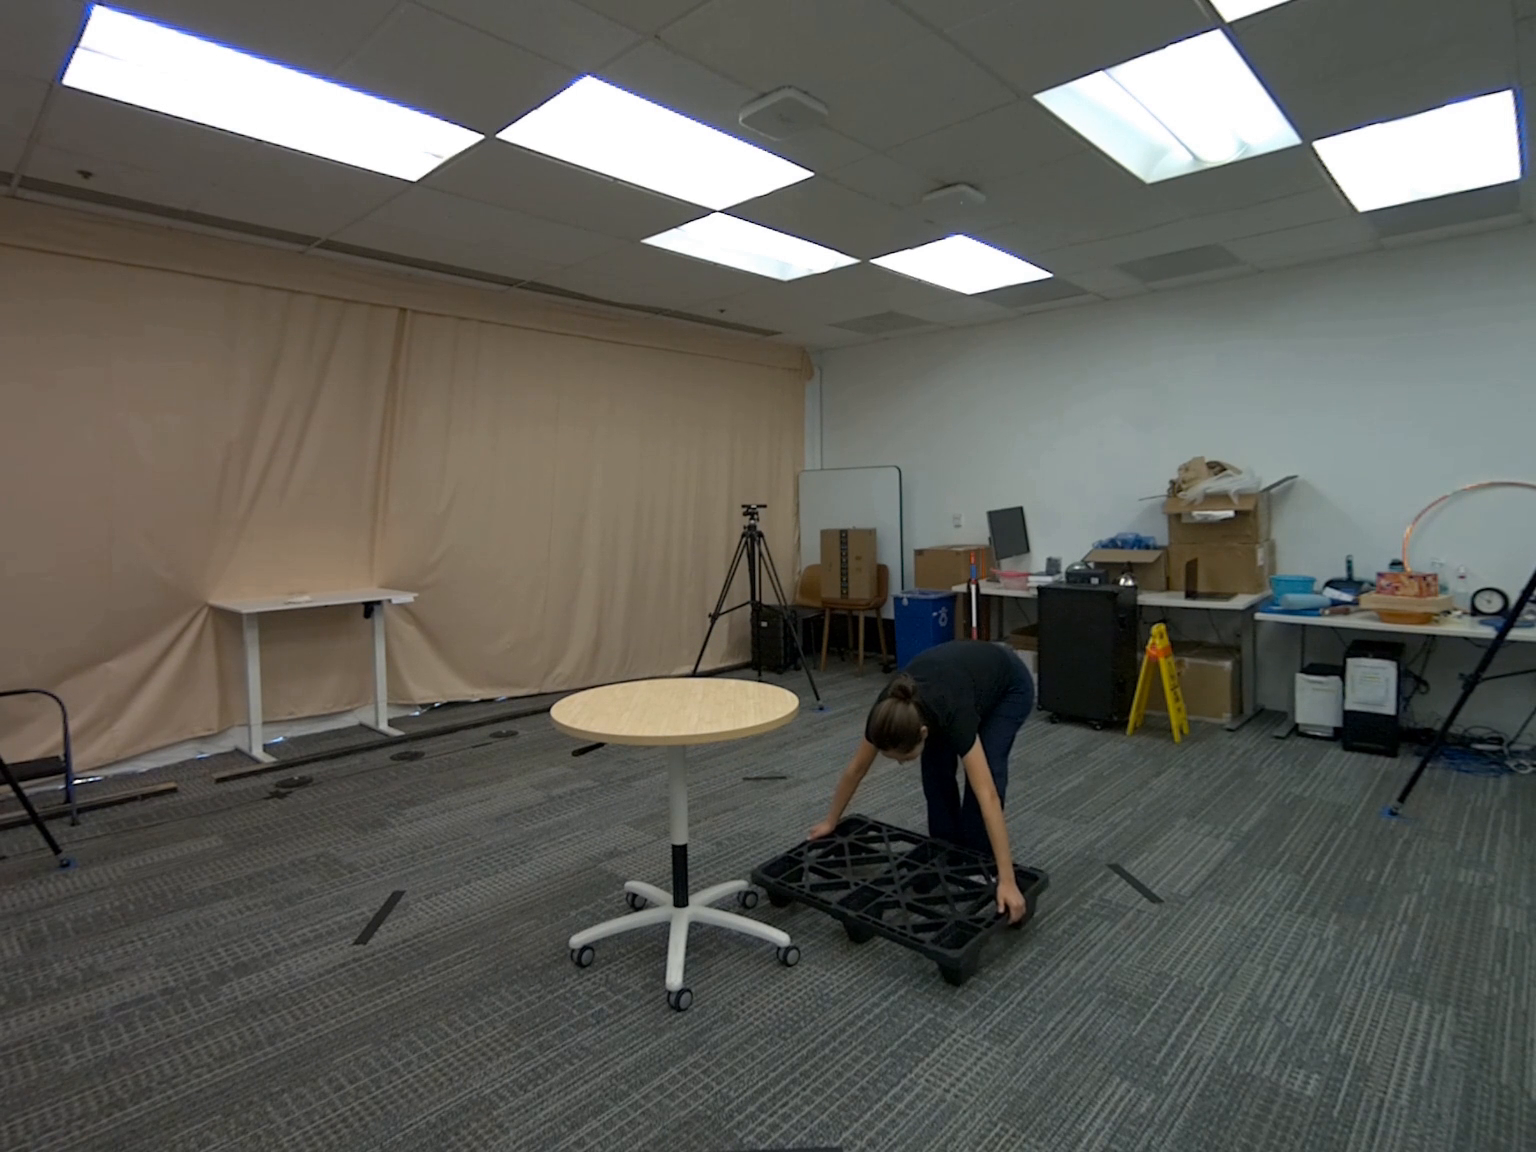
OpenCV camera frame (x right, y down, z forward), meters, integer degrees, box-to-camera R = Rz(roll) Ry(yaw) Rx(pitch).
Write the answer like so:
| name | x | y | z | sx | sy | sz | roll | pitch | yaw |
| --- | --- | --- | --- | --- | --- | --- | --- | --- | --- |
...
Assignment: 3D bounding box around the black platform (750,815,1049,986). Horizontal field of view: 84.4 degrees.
| name | x | y | z | sx | sy | sz | roll | pitch | yaw |
| --- | --- | --- | --- | --- | --- | --- | --- | --- | --- |
| black platform | 0.446 | 1.062 | 2.836 | 0.832 | 0.142 | 0.588 | 4 | 11 | 44 |
